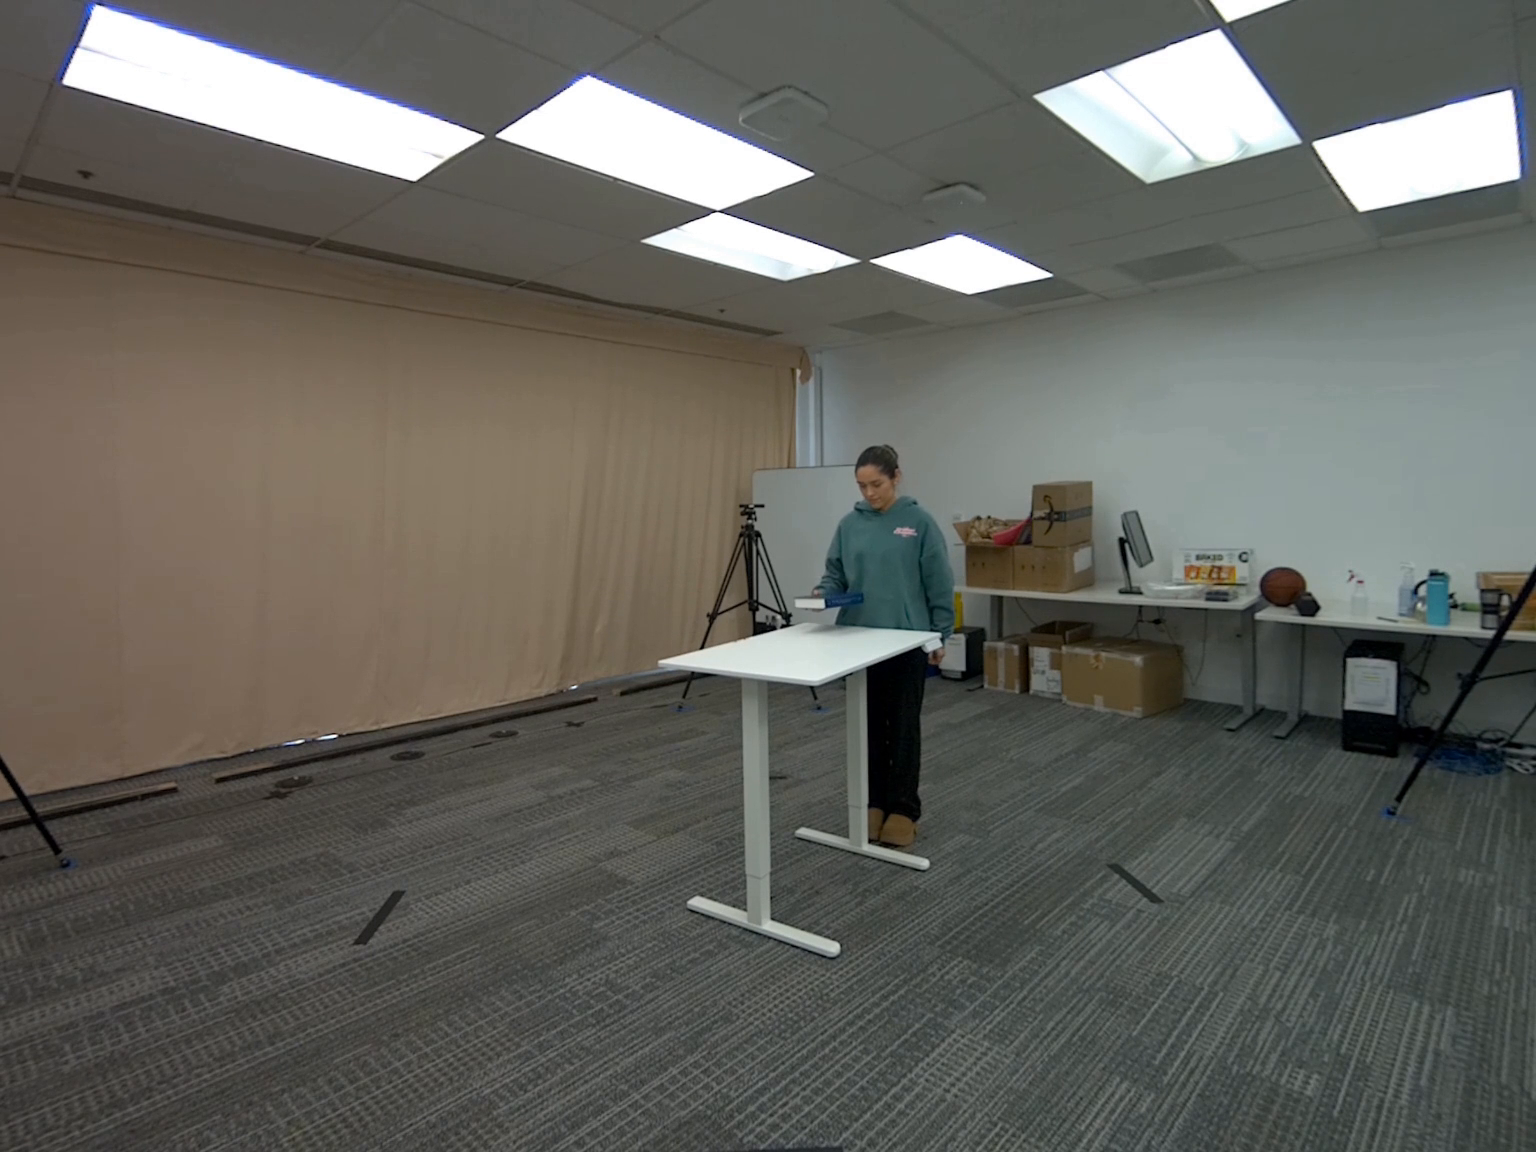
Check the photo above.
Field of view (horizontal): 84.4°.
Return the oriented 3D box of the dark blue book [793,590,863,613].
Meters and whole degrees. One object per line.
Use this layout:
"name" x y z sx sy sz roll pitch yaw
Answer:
"dark blue book" 0.243 0.099 3.364 0.168 0.045 0.238 0 4 45
